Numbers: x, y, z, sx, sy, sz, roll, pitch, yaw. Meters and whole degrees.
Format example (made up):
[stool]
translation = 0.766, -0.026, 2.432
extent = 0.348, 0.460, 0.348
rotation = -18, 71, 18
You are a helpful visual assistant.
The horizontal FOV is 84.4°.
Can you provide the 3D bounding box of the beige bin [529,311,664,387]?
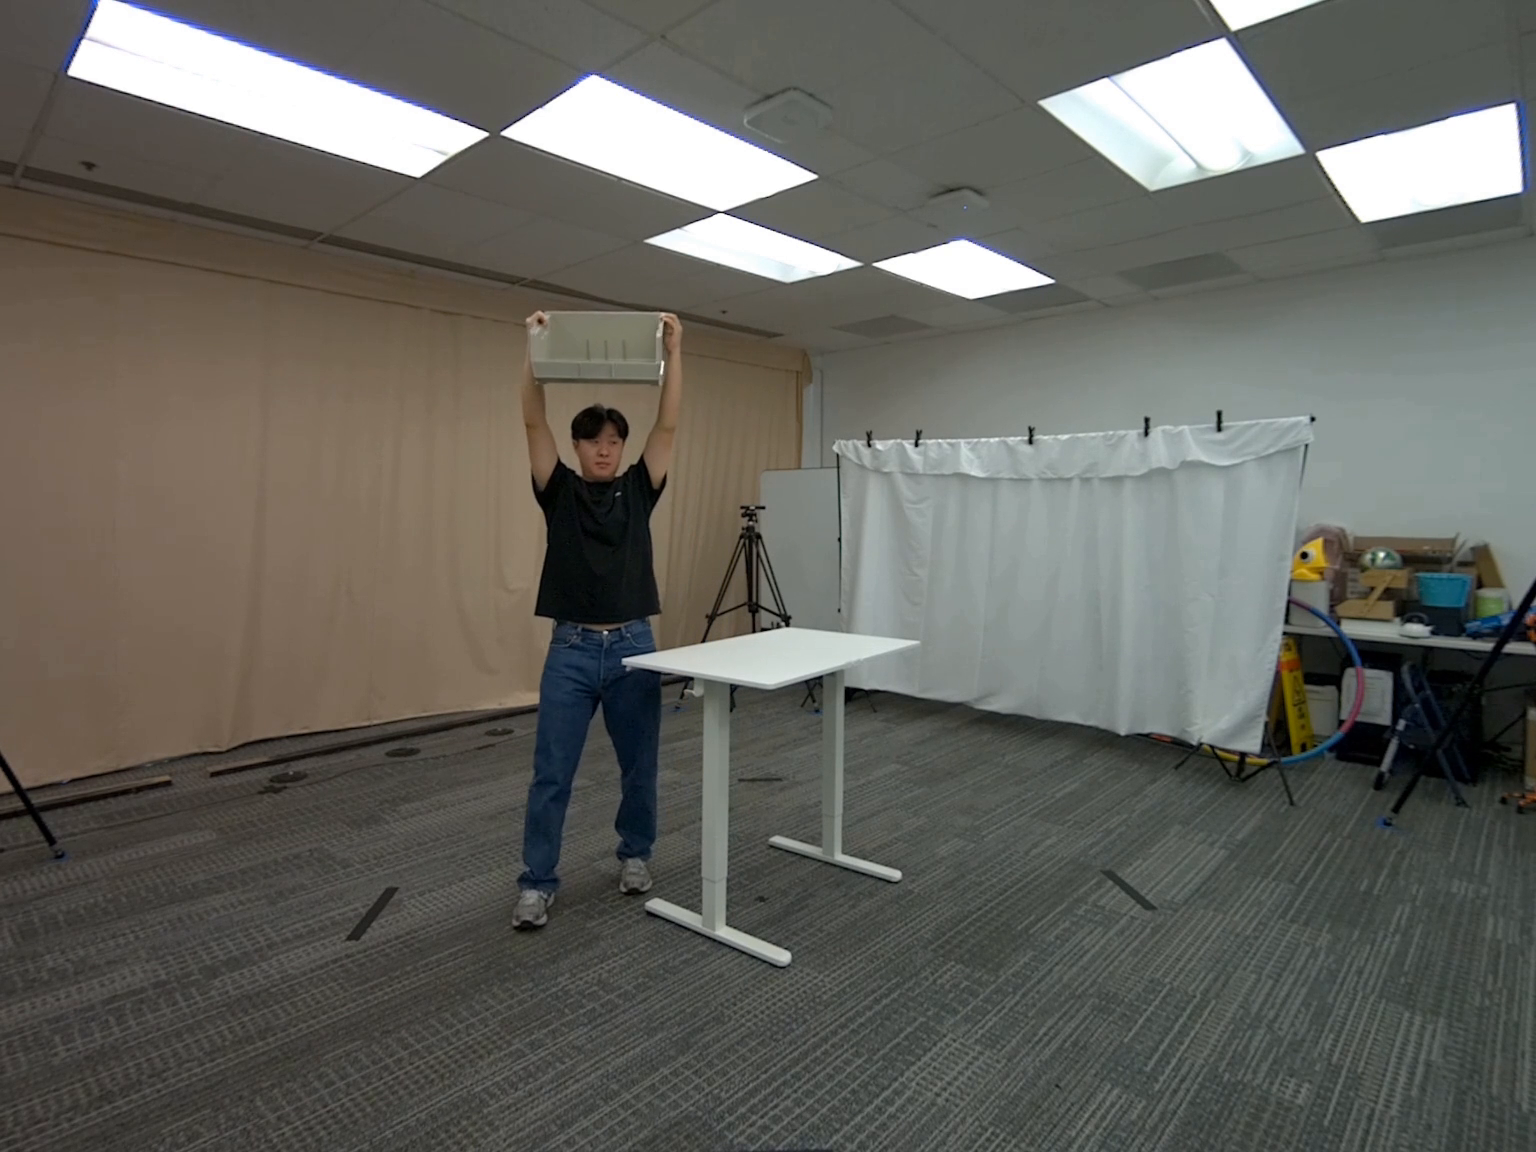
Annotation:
[beige bin]
translation = -0.568, -0.778, 2.857
extent = 0.420, 0.186, 0.384
rotation = 1, 26, -5
